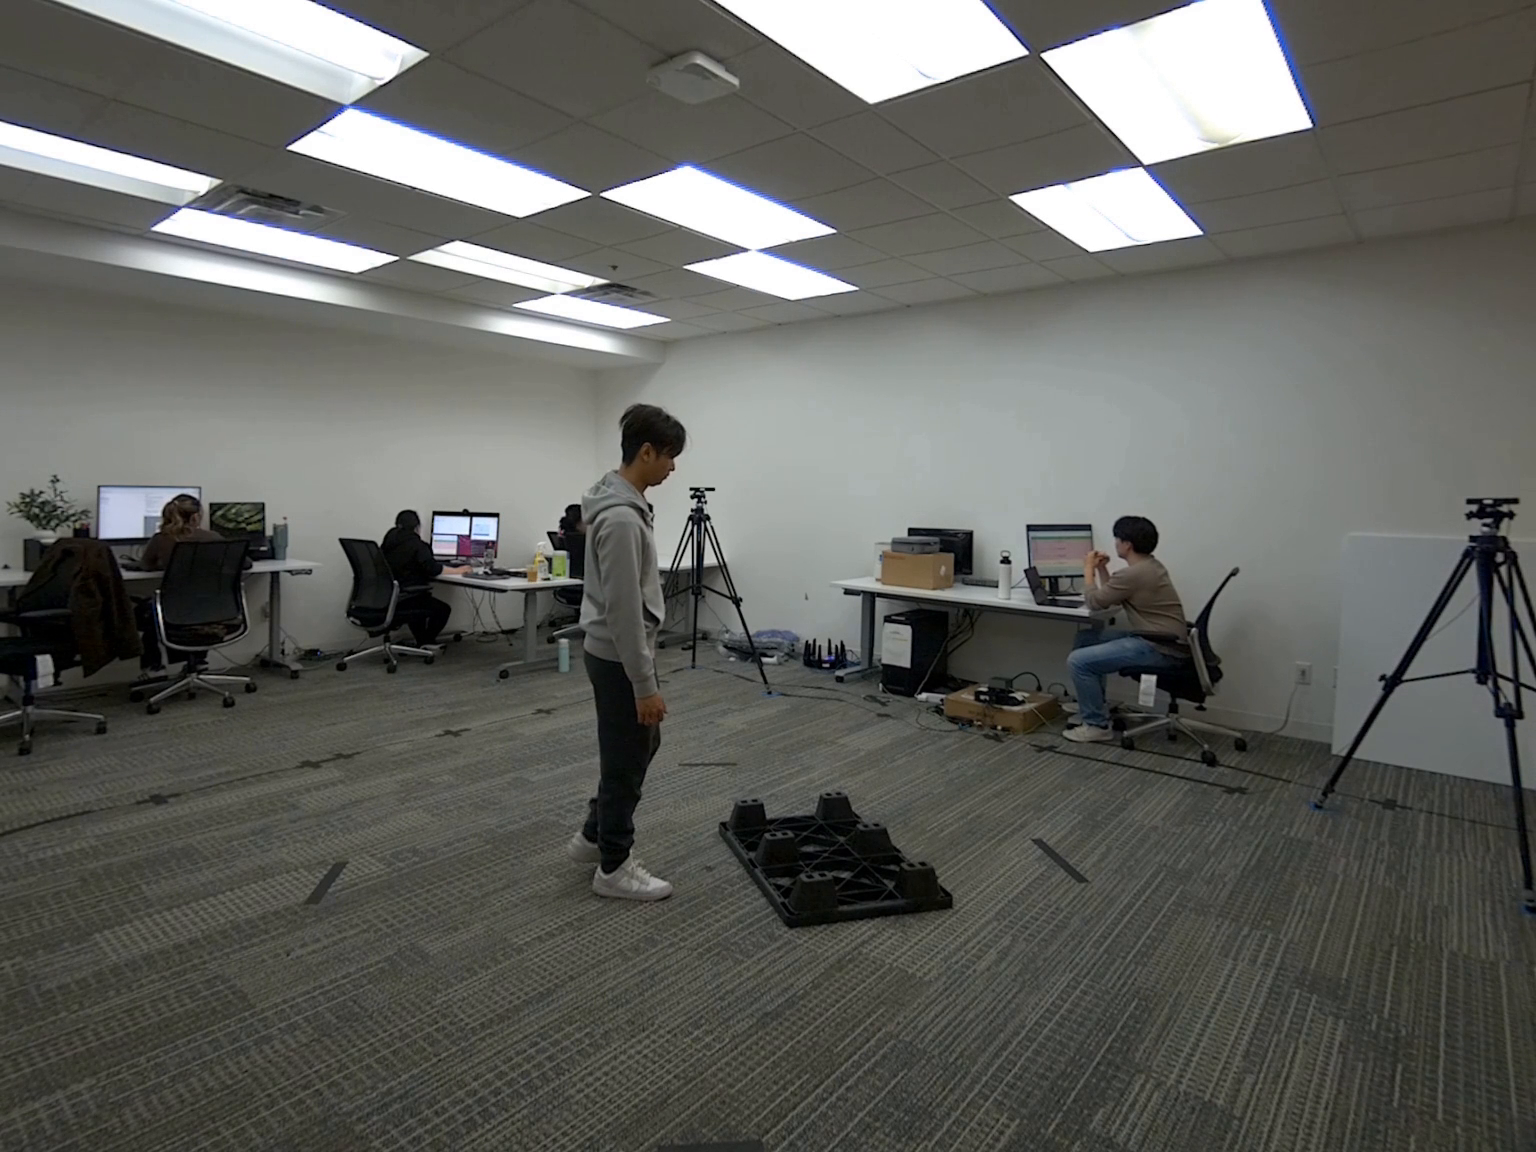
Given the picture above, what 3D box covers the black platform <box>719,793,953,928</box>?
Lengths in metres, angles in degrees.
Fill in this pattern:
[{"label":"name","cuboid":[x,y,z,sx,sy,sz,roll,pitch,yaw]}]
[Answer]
[{"label":"black platform","cuboid":[0.199,1.004,3.152,0.594,0.143,0.824,0,5,-19]}]
